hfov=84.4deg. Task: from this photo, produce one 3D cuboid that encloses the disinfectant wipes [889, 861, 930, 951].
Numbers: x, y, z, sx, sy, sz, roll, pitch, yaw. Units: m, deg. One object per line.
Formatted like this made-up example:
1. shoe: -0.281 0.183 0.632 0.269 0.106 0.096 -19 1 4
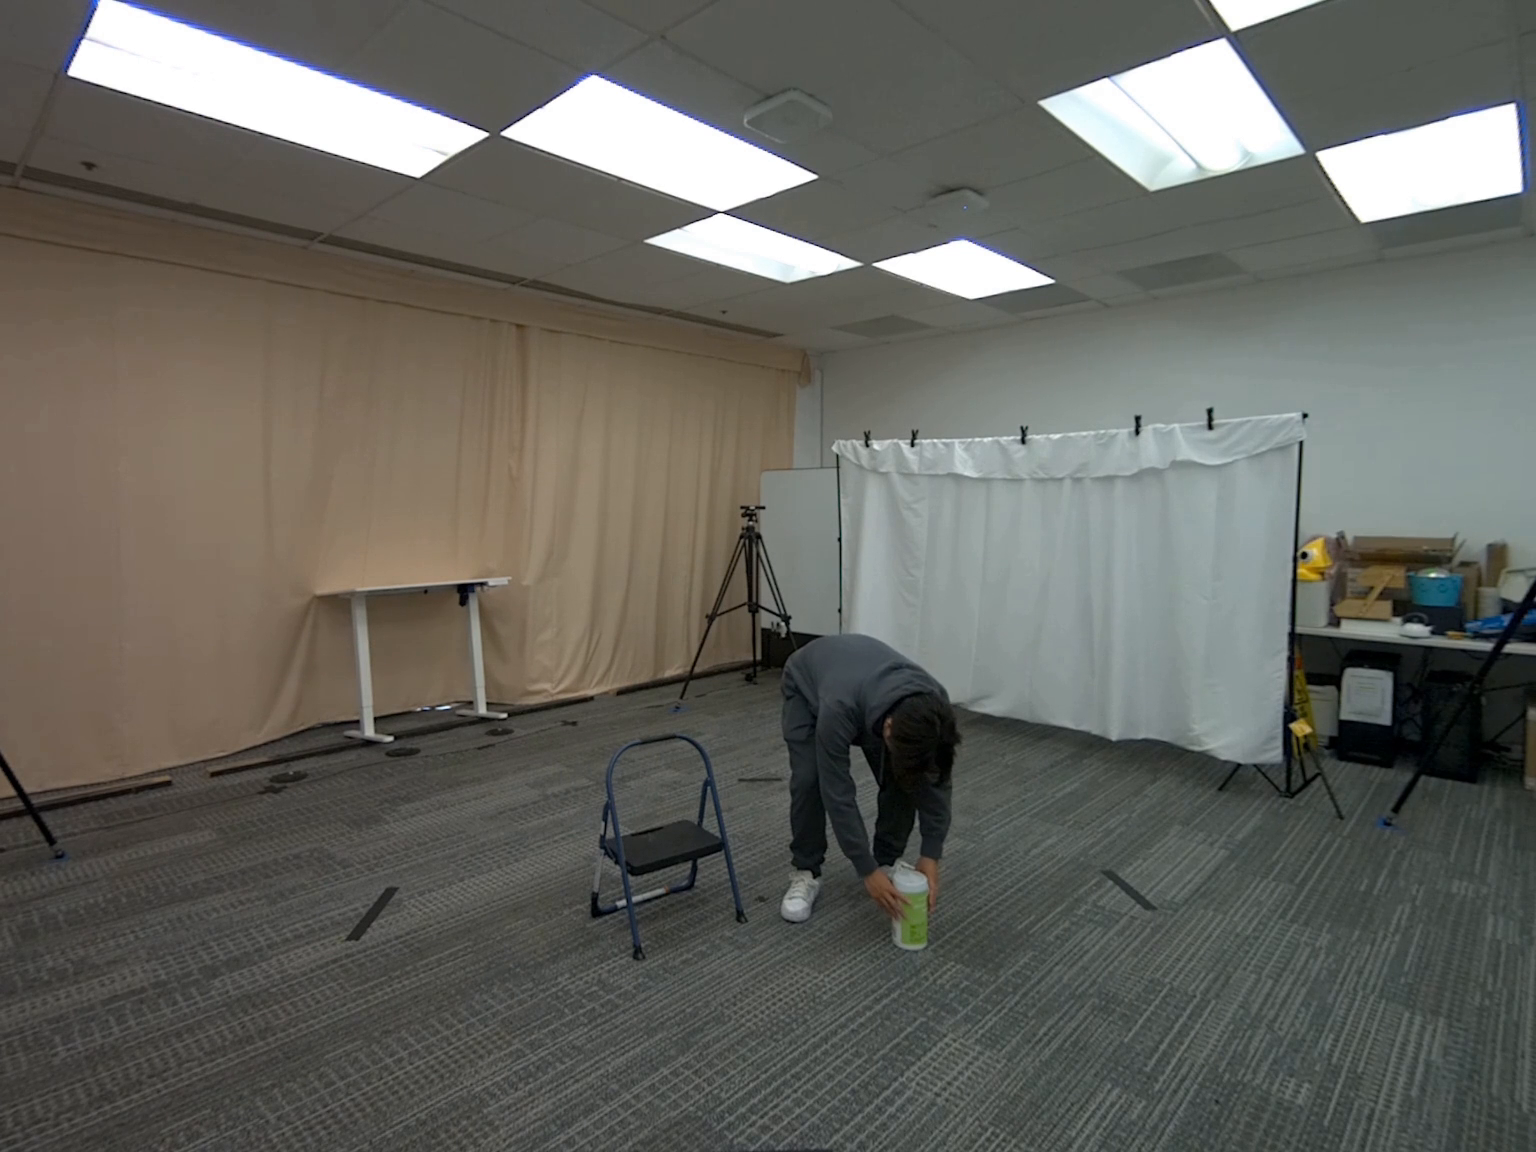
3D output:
1. disinfectant wipes: 0.451 1.061 2.678 0.118 0.217 0.118 1 4 -2
